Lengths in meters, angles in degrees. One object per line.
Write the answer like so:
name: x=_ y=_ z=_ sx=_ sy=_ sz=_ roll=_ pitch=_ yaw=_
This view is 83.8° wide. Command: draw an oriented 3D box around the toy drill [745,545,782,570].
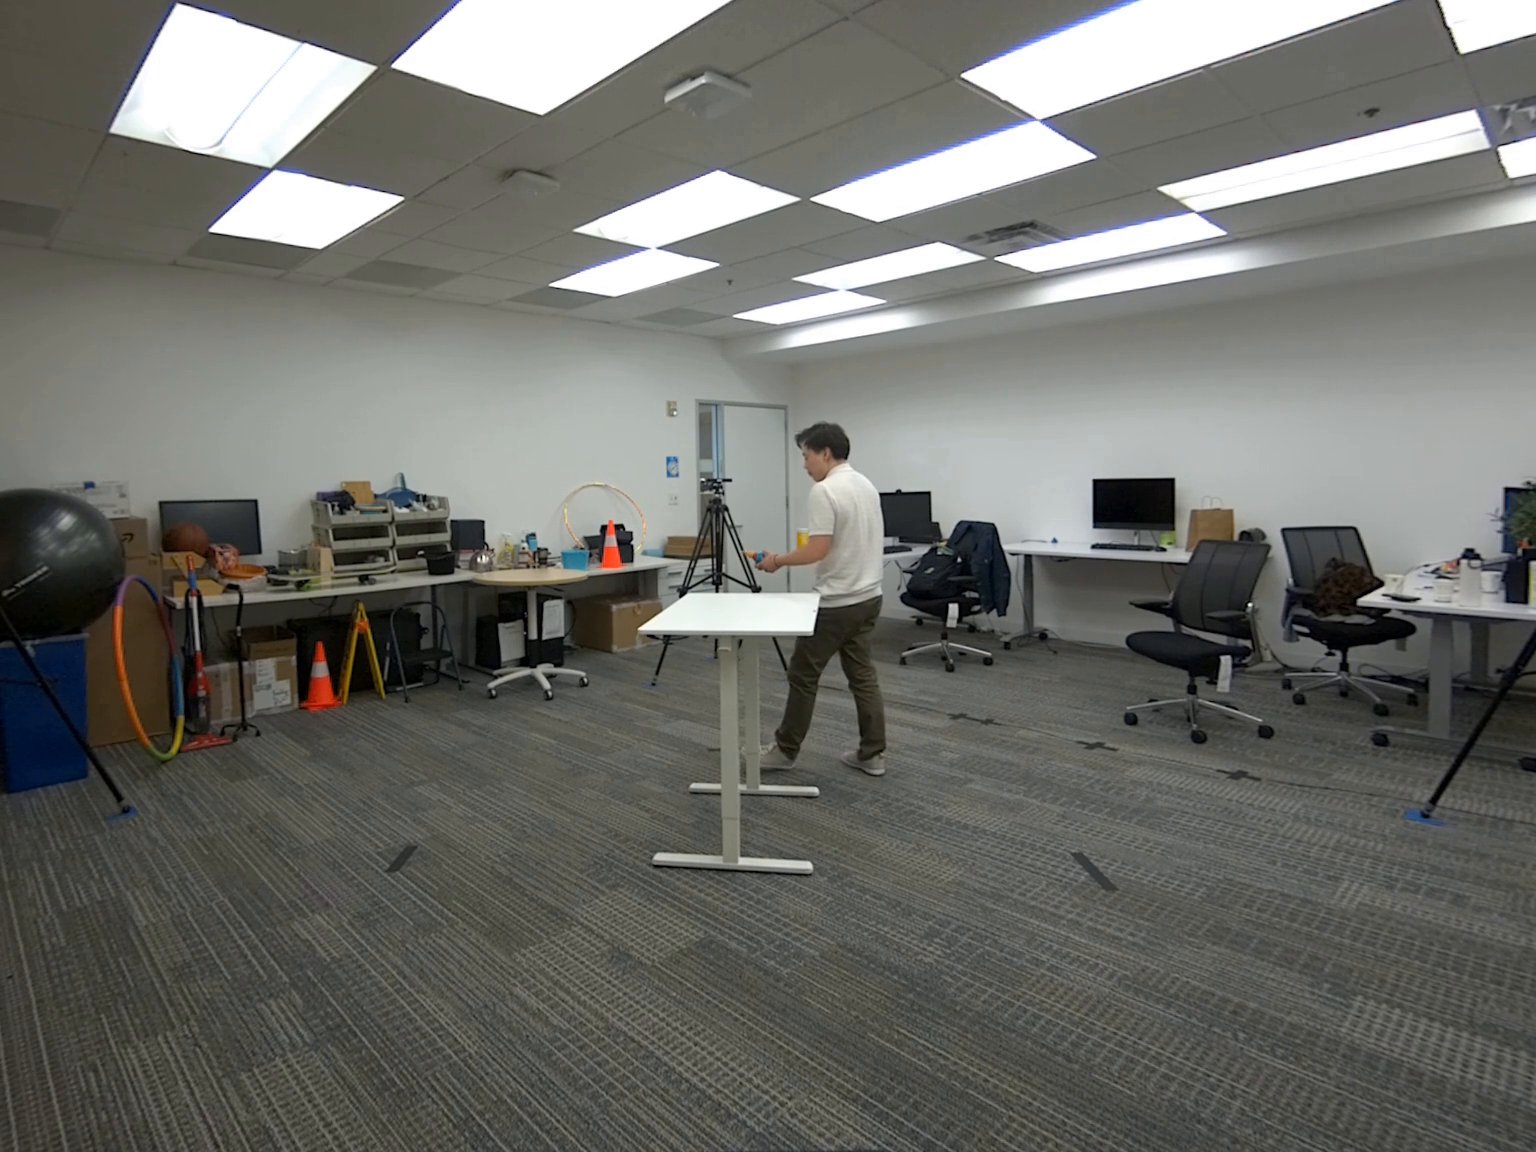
toy drill: x=-0.016 y=-0.093 z=4.141 sx=0.169 sy=0.061 sz=0.146 roll=19 pitch=0 yaw=-4
